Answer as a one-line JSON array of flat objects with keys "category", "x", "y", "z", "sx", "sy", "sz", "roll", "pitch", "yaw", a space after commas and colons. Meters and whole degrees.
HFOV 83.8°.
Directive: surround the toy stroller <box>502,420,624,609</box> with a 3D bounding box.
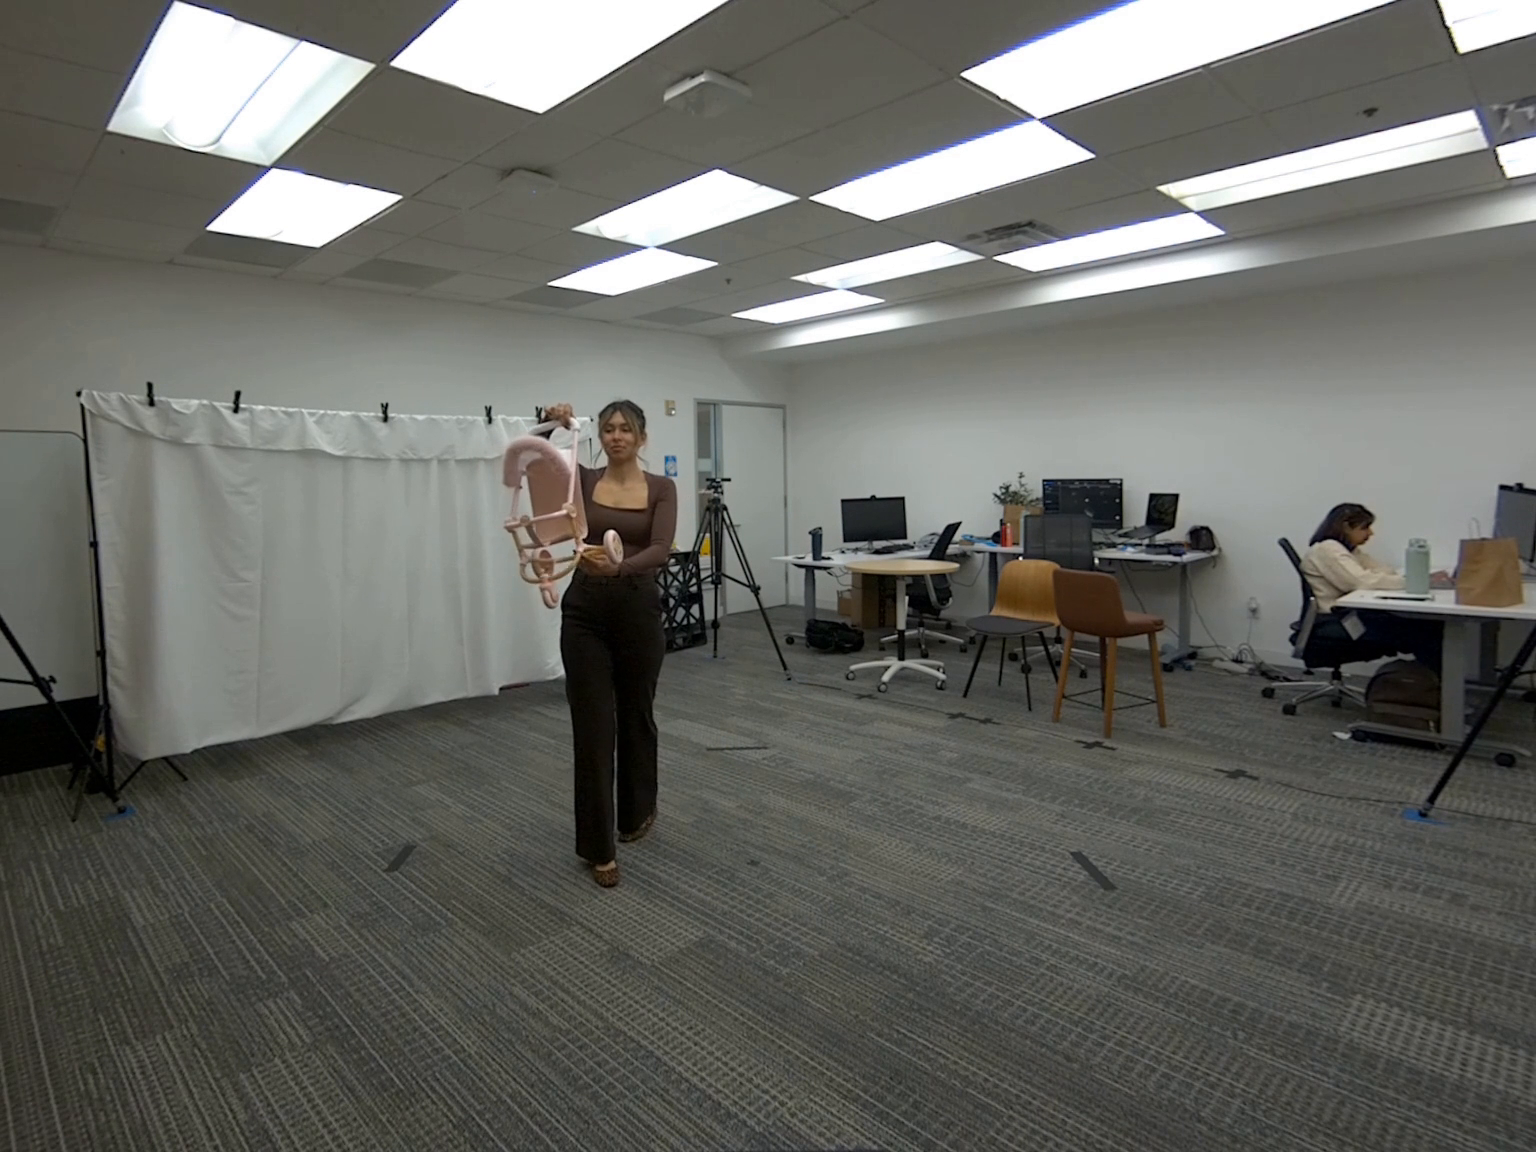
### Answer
[{"category": "toy stroller", "x": -0.659, "y": -0.189, "z": 2.565, "sx": 0.285, "sy": 0.531, "sz": 0.339, "roll": -10, "pitch": 8, "yaw": 17}]
